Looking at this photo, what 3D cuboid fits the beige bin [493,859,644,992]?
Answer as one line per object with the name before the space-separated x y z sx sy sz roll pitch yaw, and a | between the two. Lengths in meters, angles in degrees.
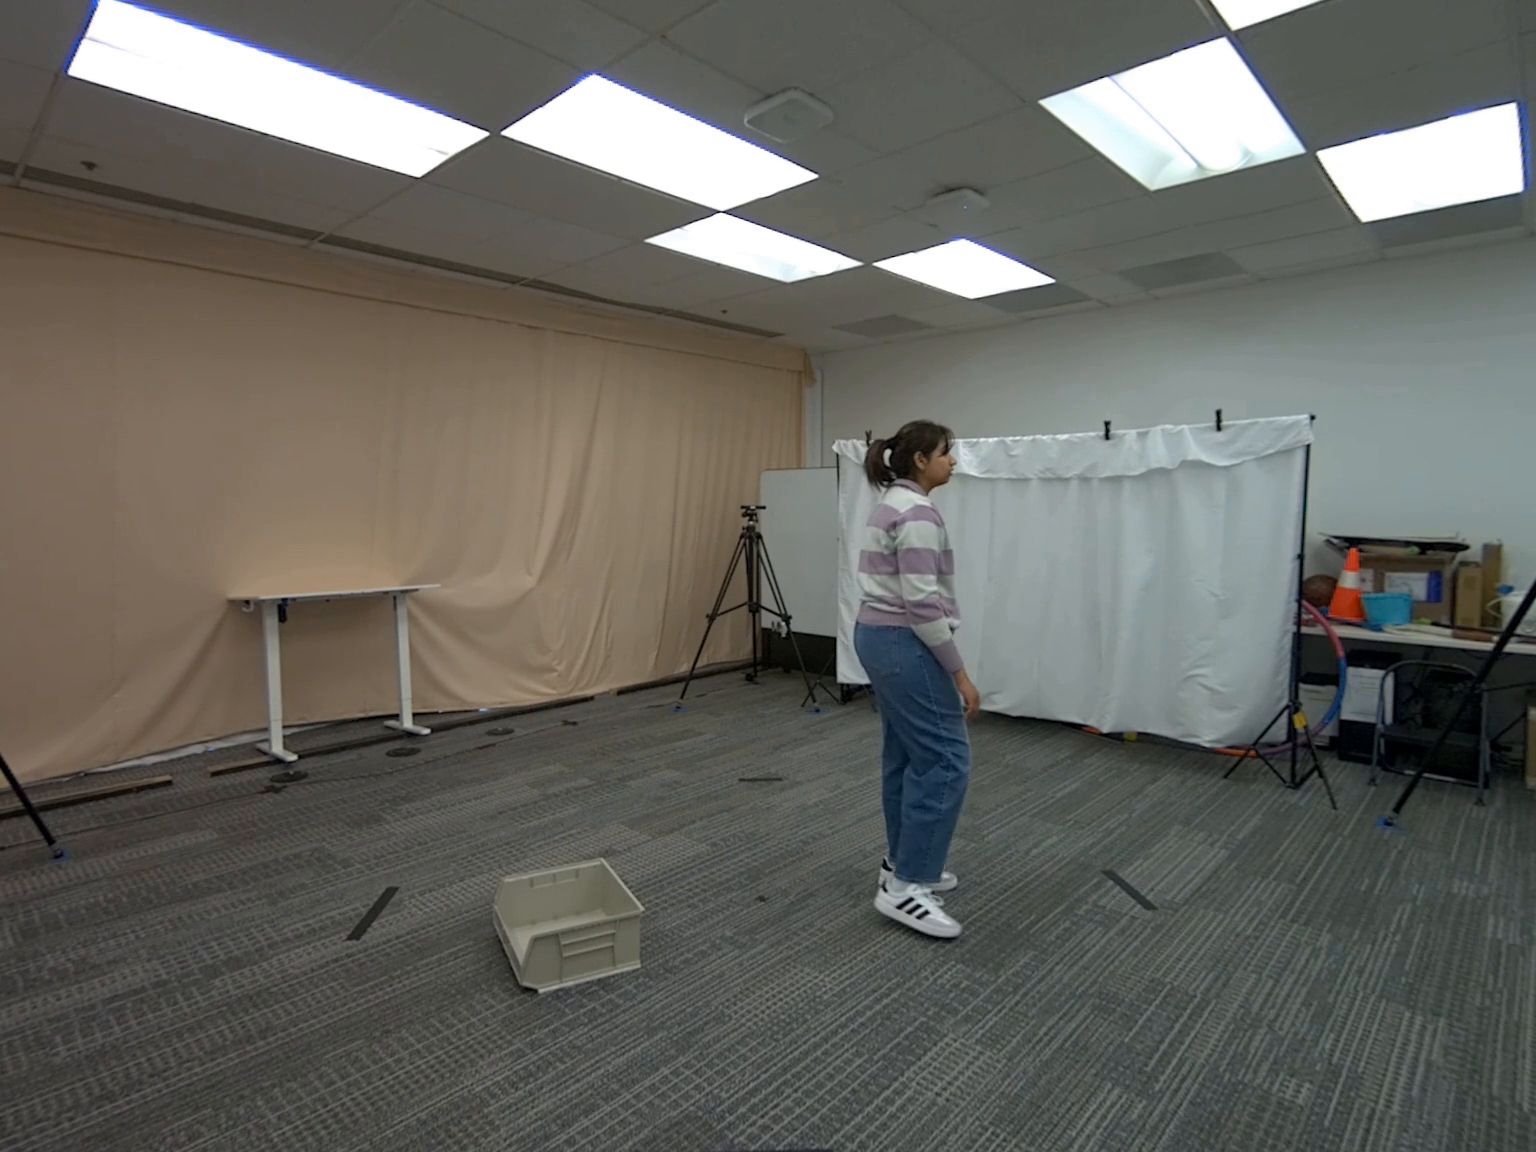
beige bin | -0.641 1.092 2.642 0.368 0.188 0.434 -1 4 -27
